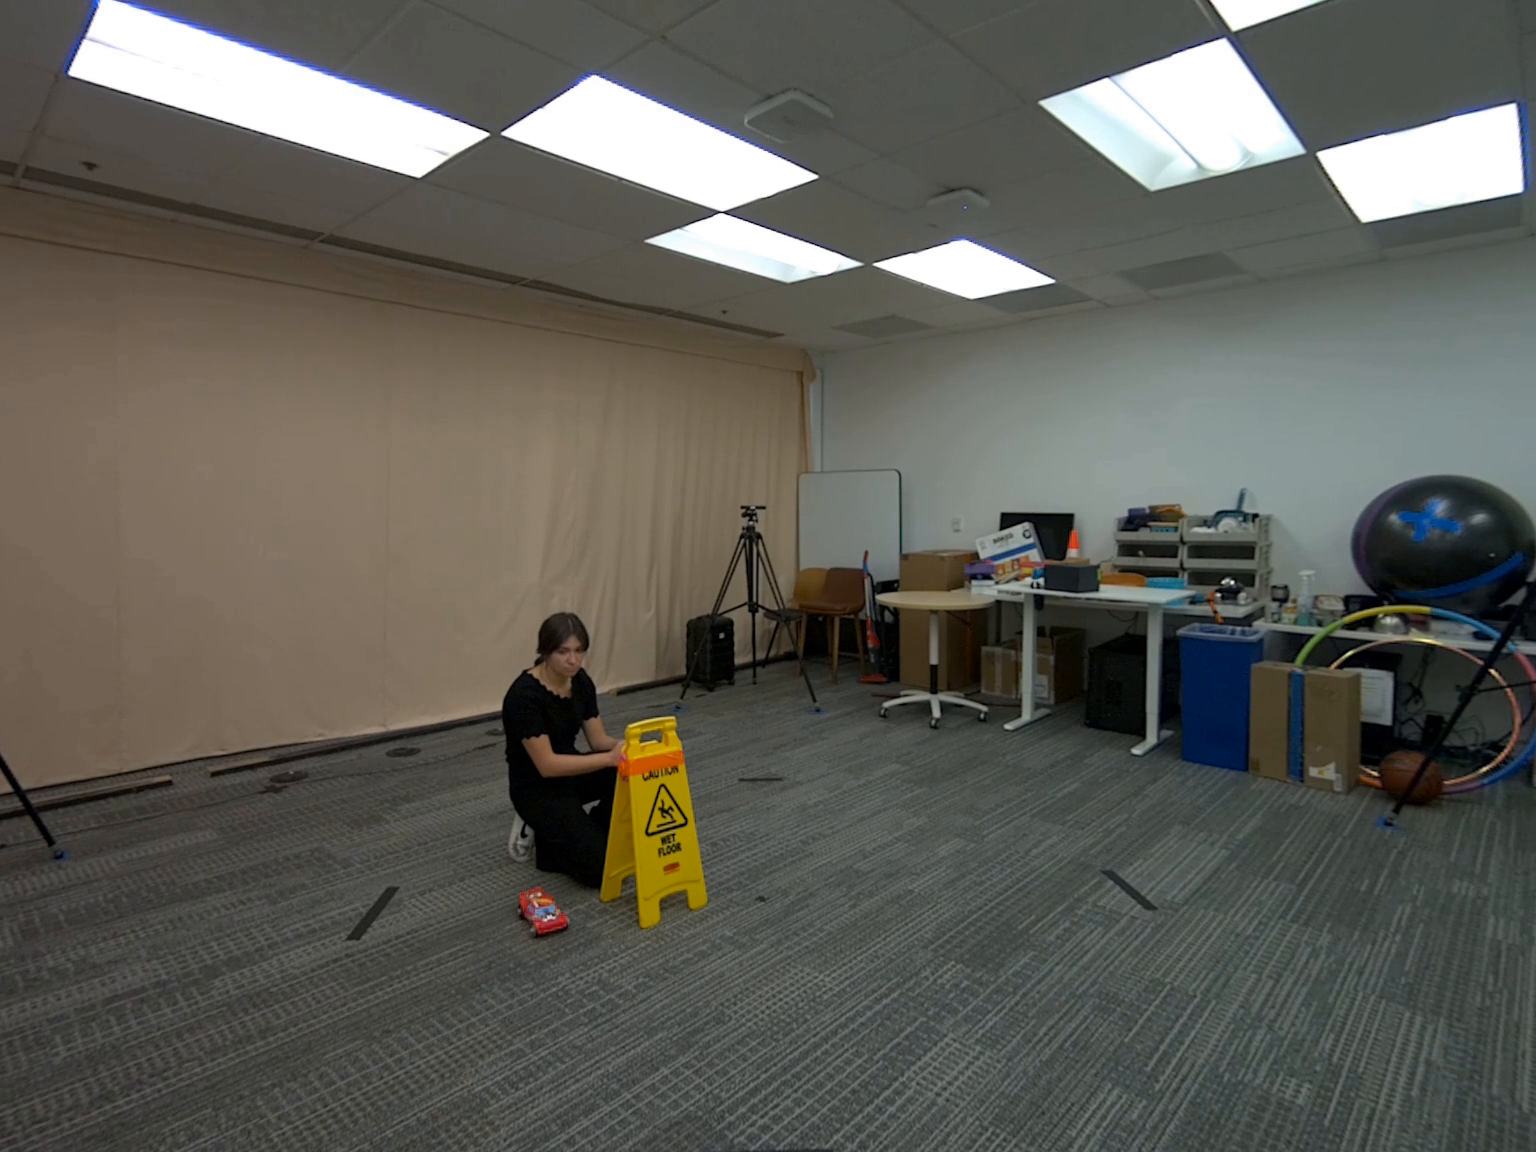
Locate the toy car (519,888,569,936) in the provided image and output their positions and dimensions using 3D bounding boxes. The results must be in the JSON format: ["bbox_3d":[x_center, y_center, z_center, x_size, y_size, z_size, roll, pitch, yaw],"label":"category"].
[{"bbox_3d":[-0.762,1.125,2.841,0.127,0.082,0.263,-3,16,-30],"label":"toy car"}]
